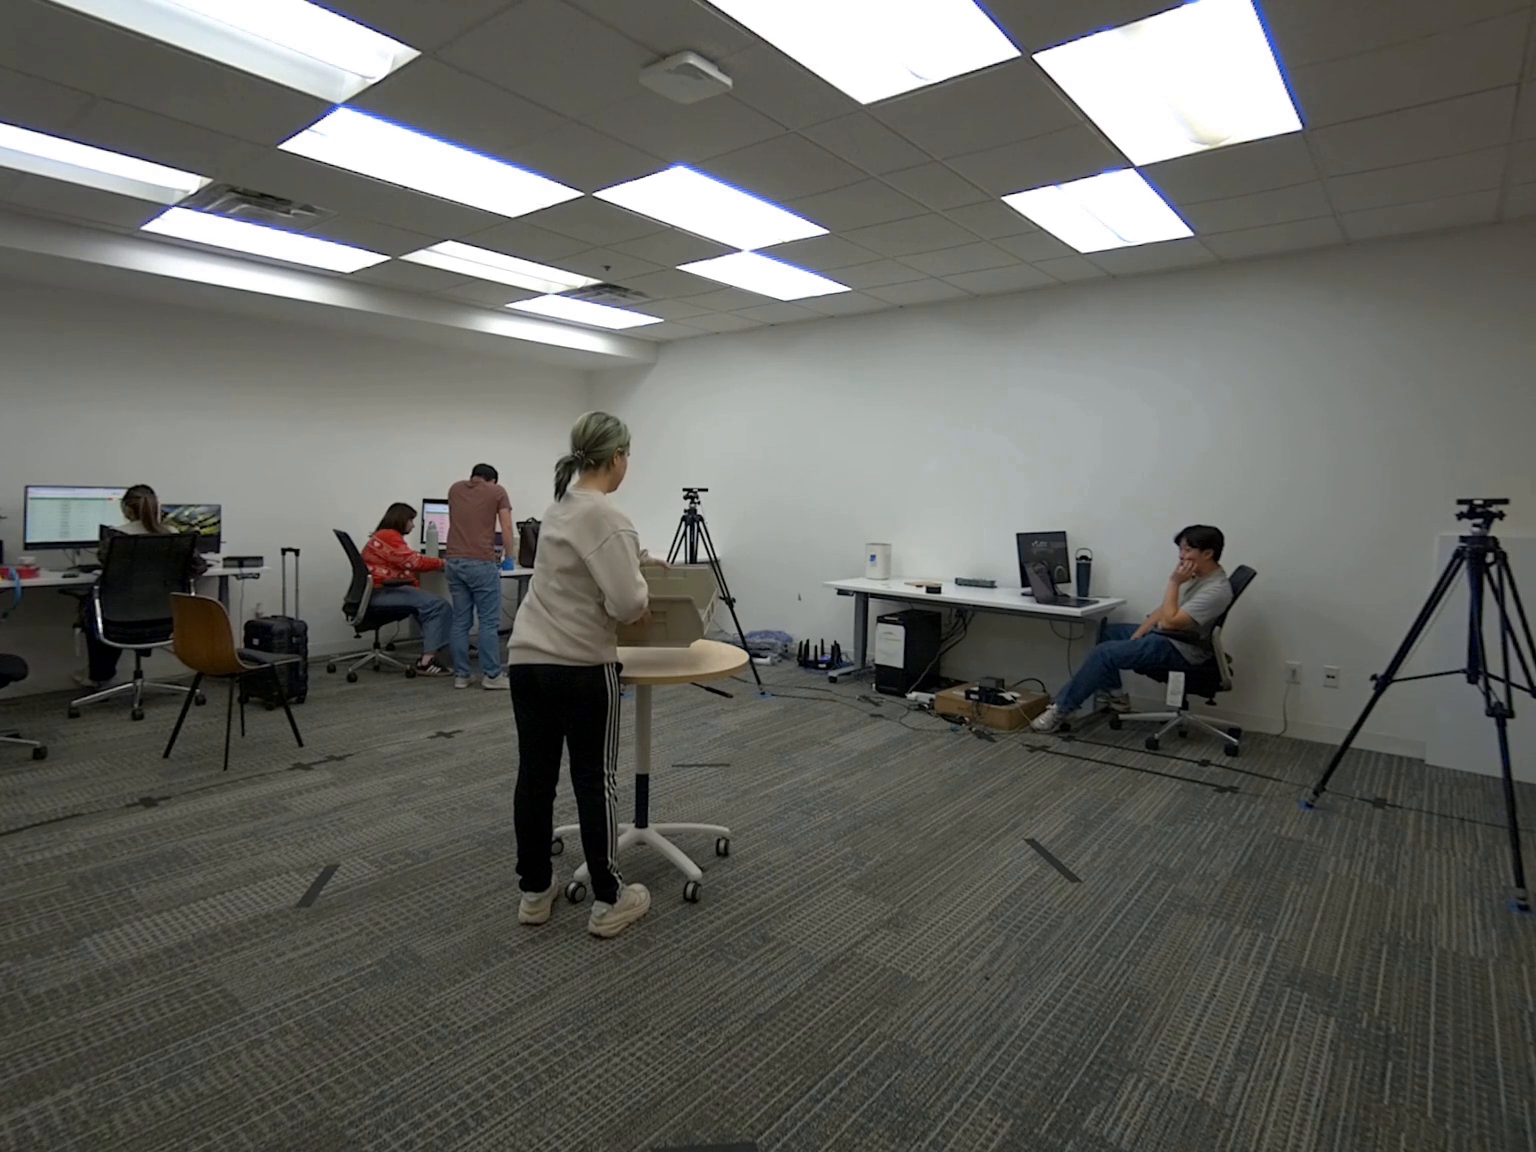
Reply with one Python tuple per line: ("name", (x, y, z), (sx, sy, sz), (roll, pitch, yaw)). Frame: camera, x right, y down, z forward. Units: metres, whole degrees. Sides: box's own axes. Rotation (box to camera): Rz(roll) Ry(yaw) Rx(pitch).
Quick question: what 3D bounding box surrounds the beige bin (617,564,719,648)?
("beige bin", (-0.389, 0.100, 3.027), (0.379, 0.186, 0.427), (-1, 17, 4))
